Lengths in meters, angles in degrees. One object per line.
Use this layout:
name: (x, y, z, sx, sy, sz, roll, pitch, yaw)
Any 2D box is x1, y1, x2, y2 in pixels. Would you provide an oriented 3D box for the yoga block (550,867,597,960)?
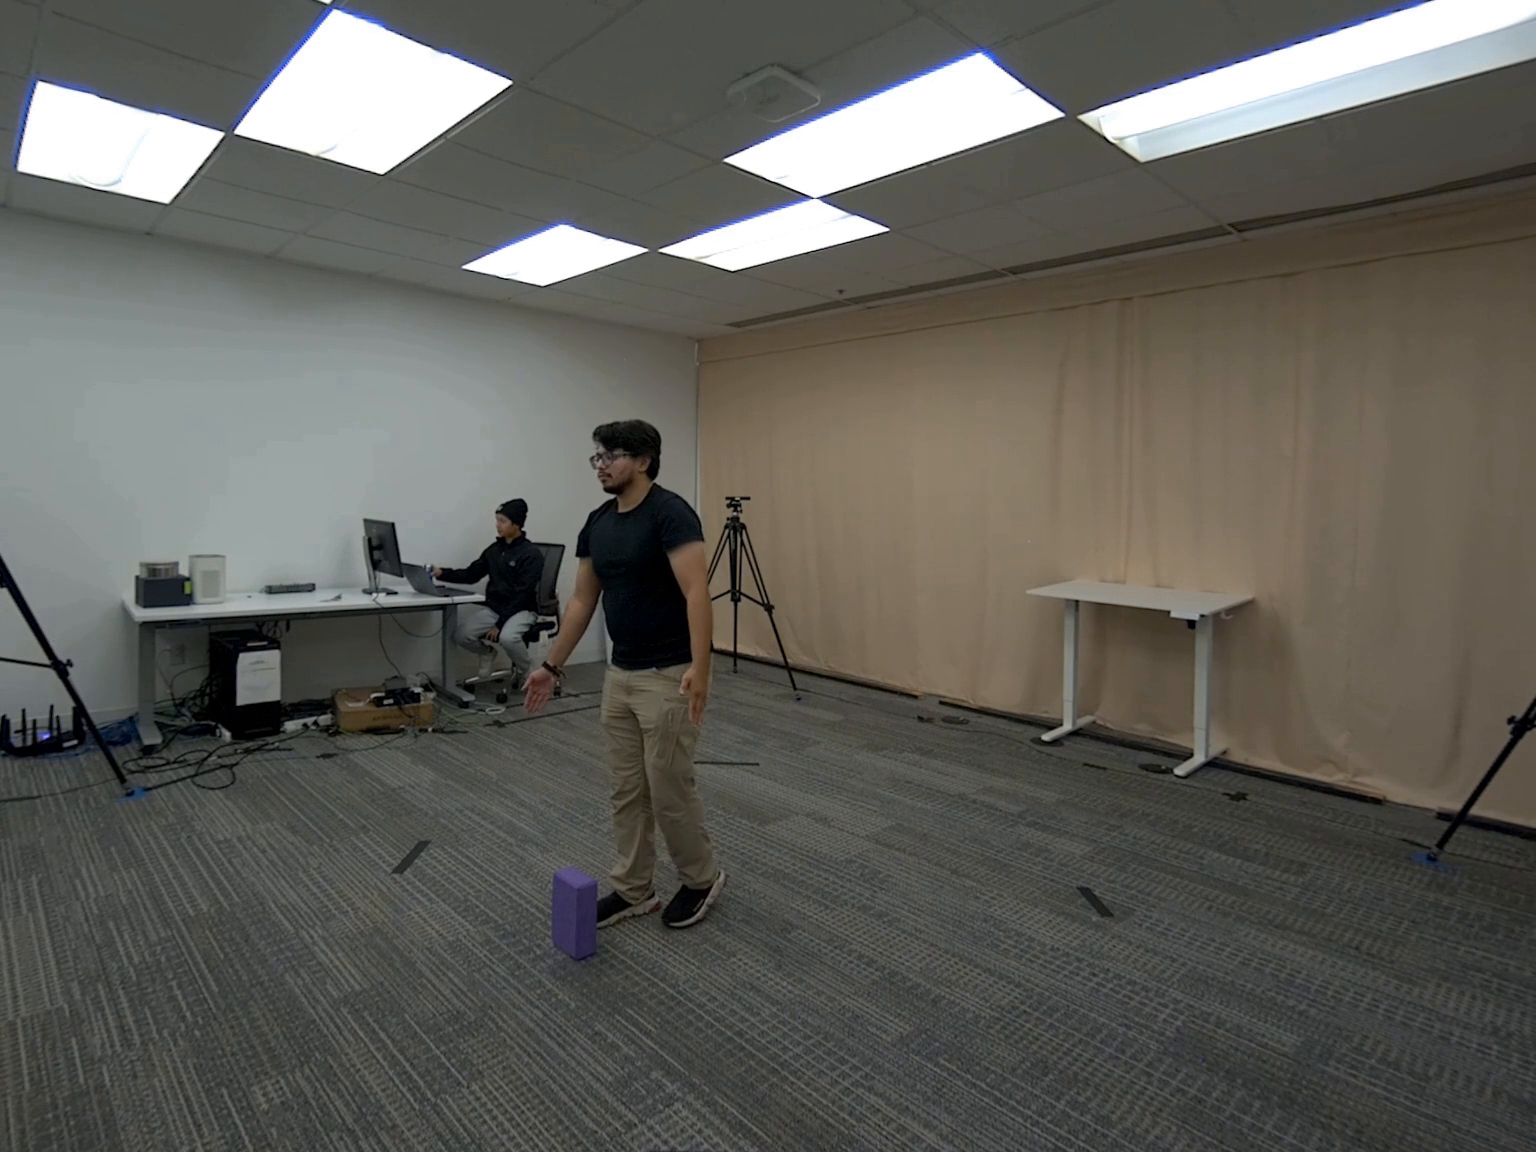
yoga block: (-0.604, 1.029, 2.574, 0.075, 0.229, 0.153, -1, 3, -39)
